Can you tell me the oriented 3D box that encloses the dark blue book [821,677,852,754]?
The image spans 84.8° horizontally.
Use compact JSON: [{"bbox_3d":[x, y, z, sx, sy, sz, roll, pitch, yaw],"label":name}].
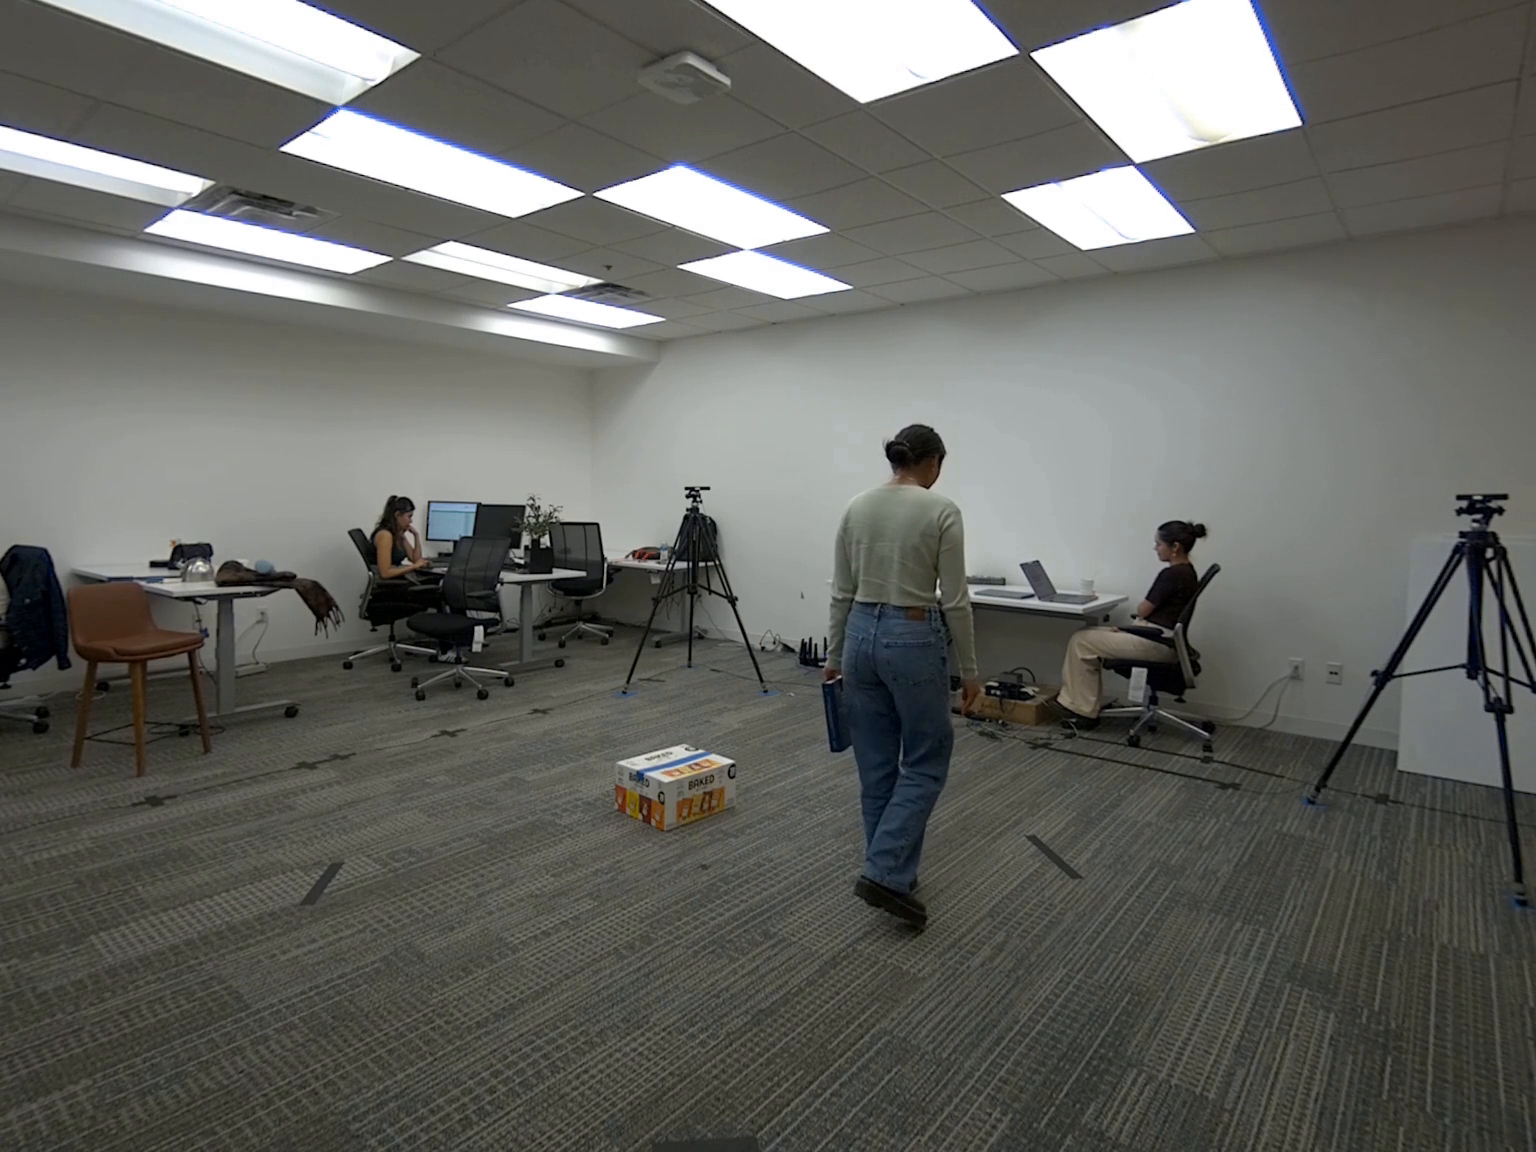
[{"bbox_3d":[0.250,0.481,3.011,0.046,0.245,0.159,-9,1,34],"label":"dark blue book"}]
